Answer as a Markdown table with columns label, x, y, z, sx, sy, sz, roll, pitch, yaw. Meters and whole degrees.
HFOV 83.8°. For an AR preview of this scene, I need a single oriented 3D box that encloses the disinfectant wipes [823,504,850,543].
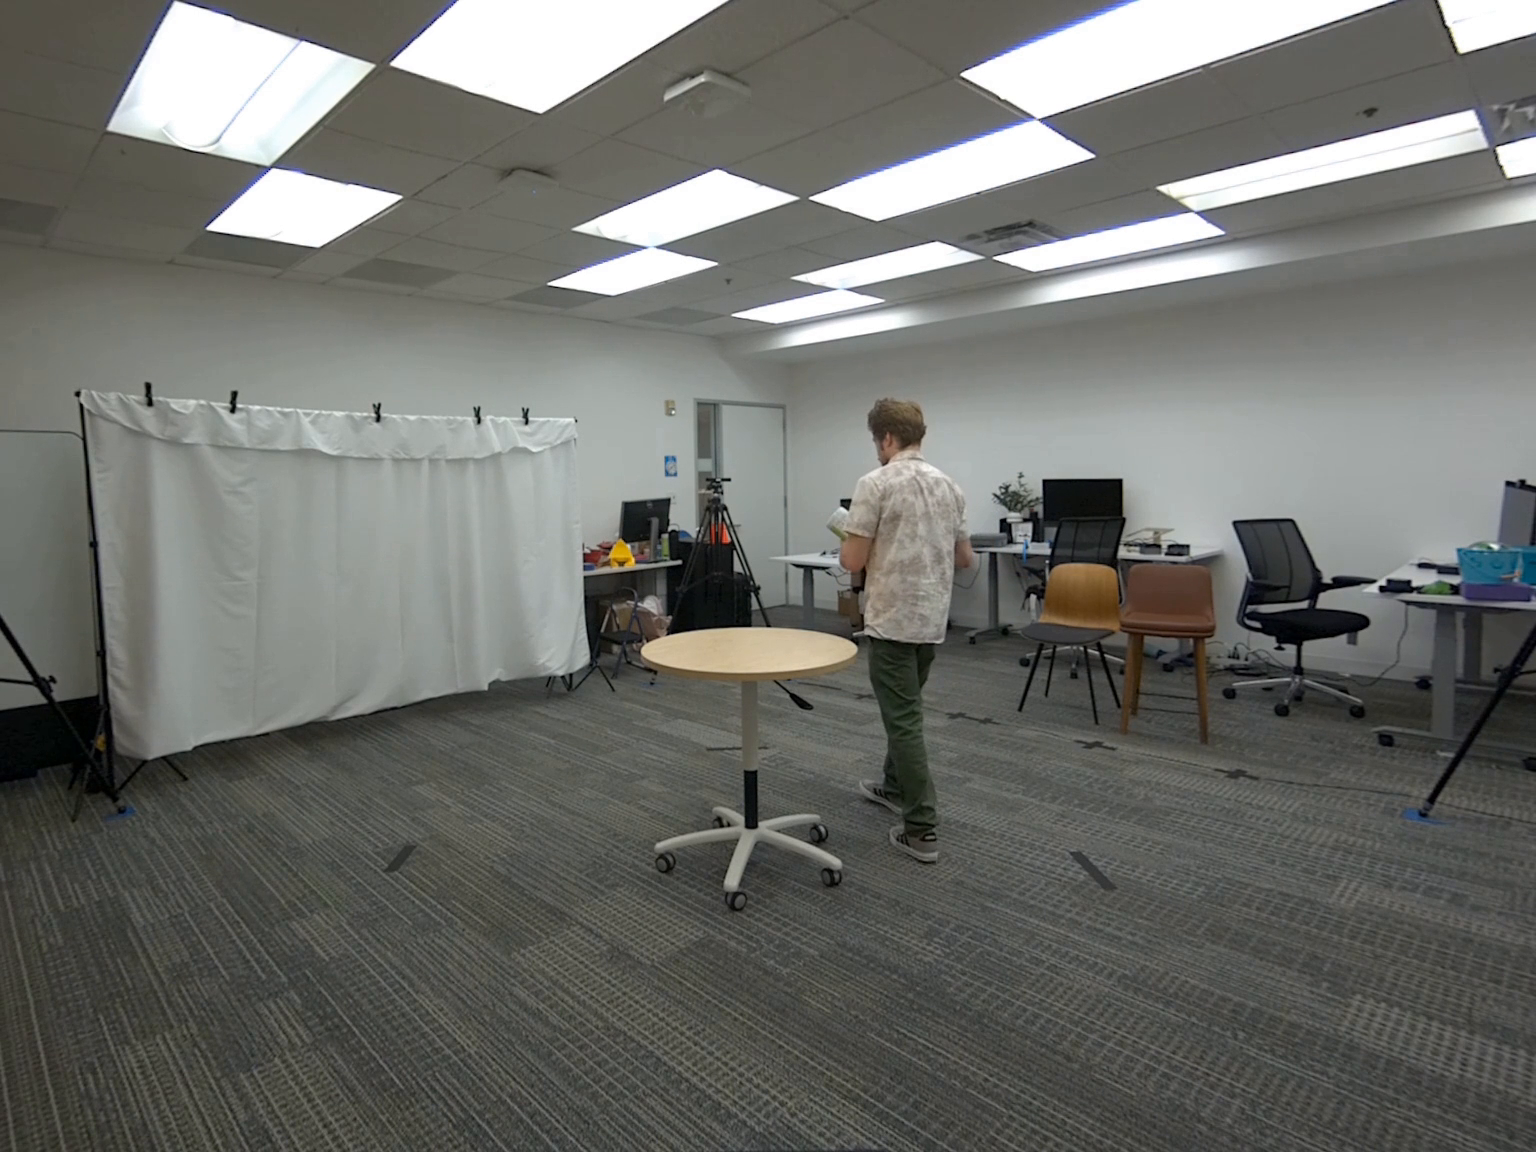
| label | x | y | z | sx | sy | sz | roll | pitch | yaw |
| --- | --- | --- | --- | --- | --- | --- | --- | --- | --- |
| disinfectant wipes | 0.359 | -0.184 | 3.557 | 0.221 | 0.117 | 0.116 | 40 | 15 | 12 |
